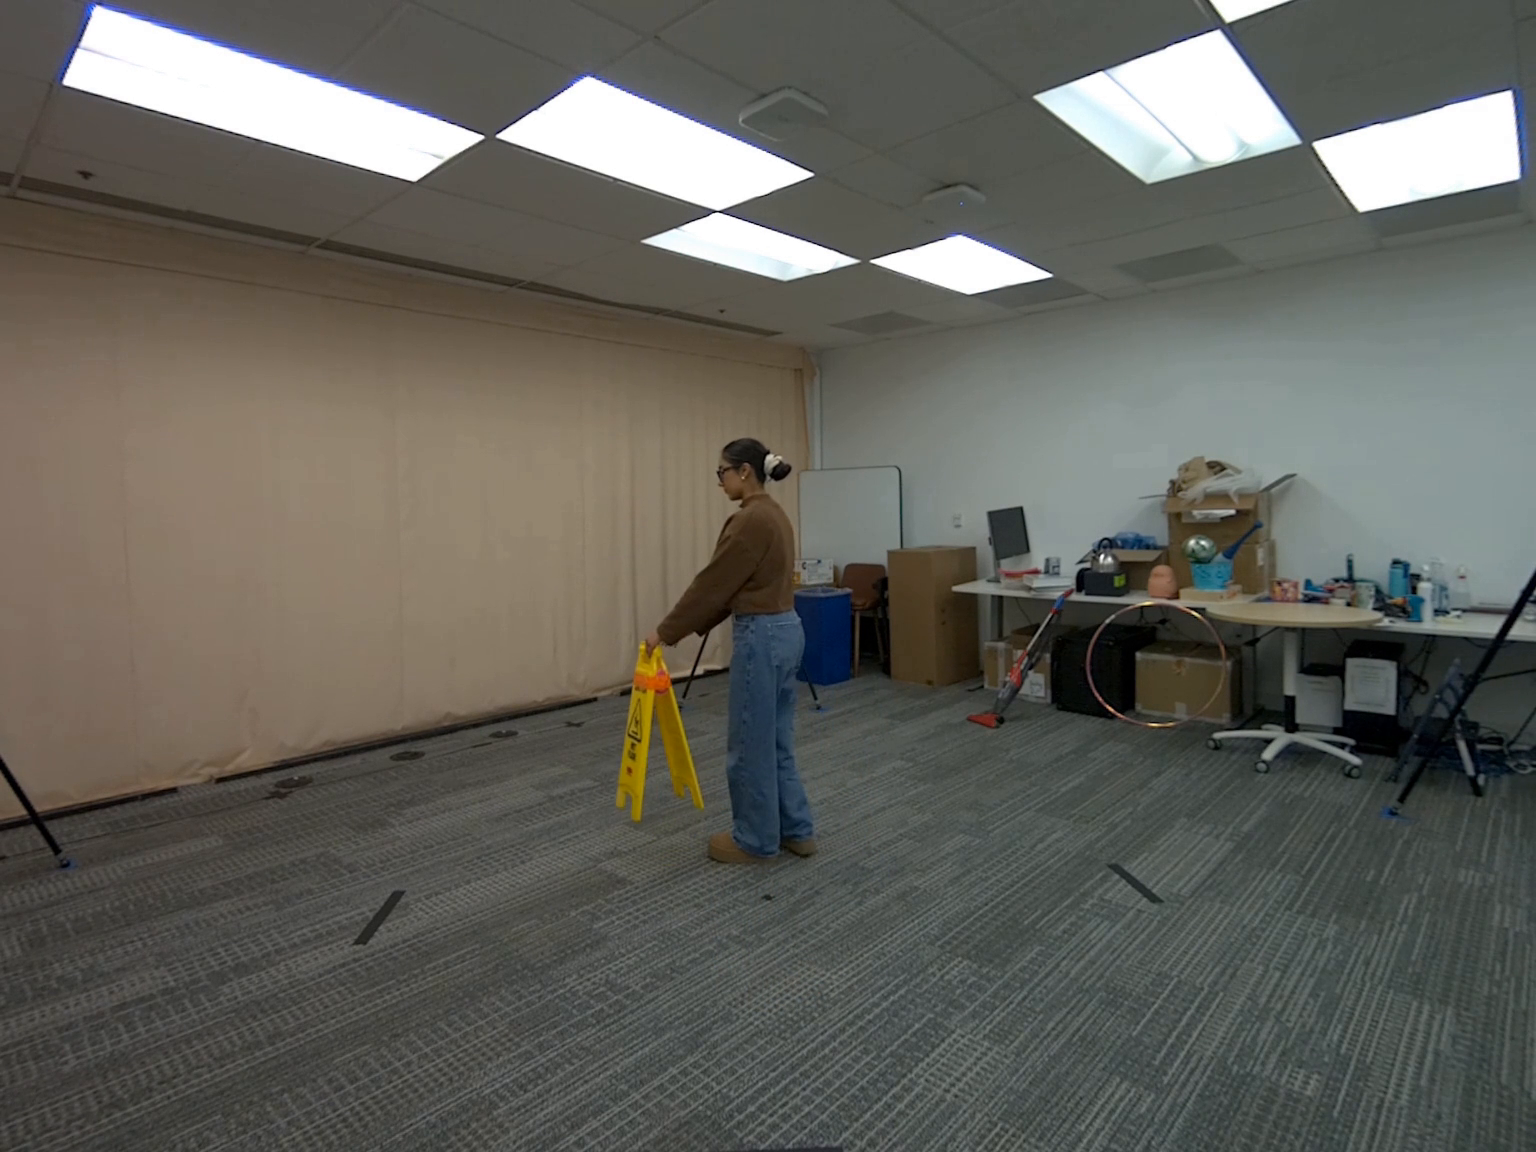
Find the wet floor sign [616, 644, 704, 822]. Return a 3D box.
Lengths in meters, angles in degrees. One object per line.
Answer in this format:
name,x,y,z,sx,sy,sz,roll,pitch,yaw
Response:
wet floor sign,-0.442,0.589,3.313,0.283,0.646,0.289,-2,-1,-26
